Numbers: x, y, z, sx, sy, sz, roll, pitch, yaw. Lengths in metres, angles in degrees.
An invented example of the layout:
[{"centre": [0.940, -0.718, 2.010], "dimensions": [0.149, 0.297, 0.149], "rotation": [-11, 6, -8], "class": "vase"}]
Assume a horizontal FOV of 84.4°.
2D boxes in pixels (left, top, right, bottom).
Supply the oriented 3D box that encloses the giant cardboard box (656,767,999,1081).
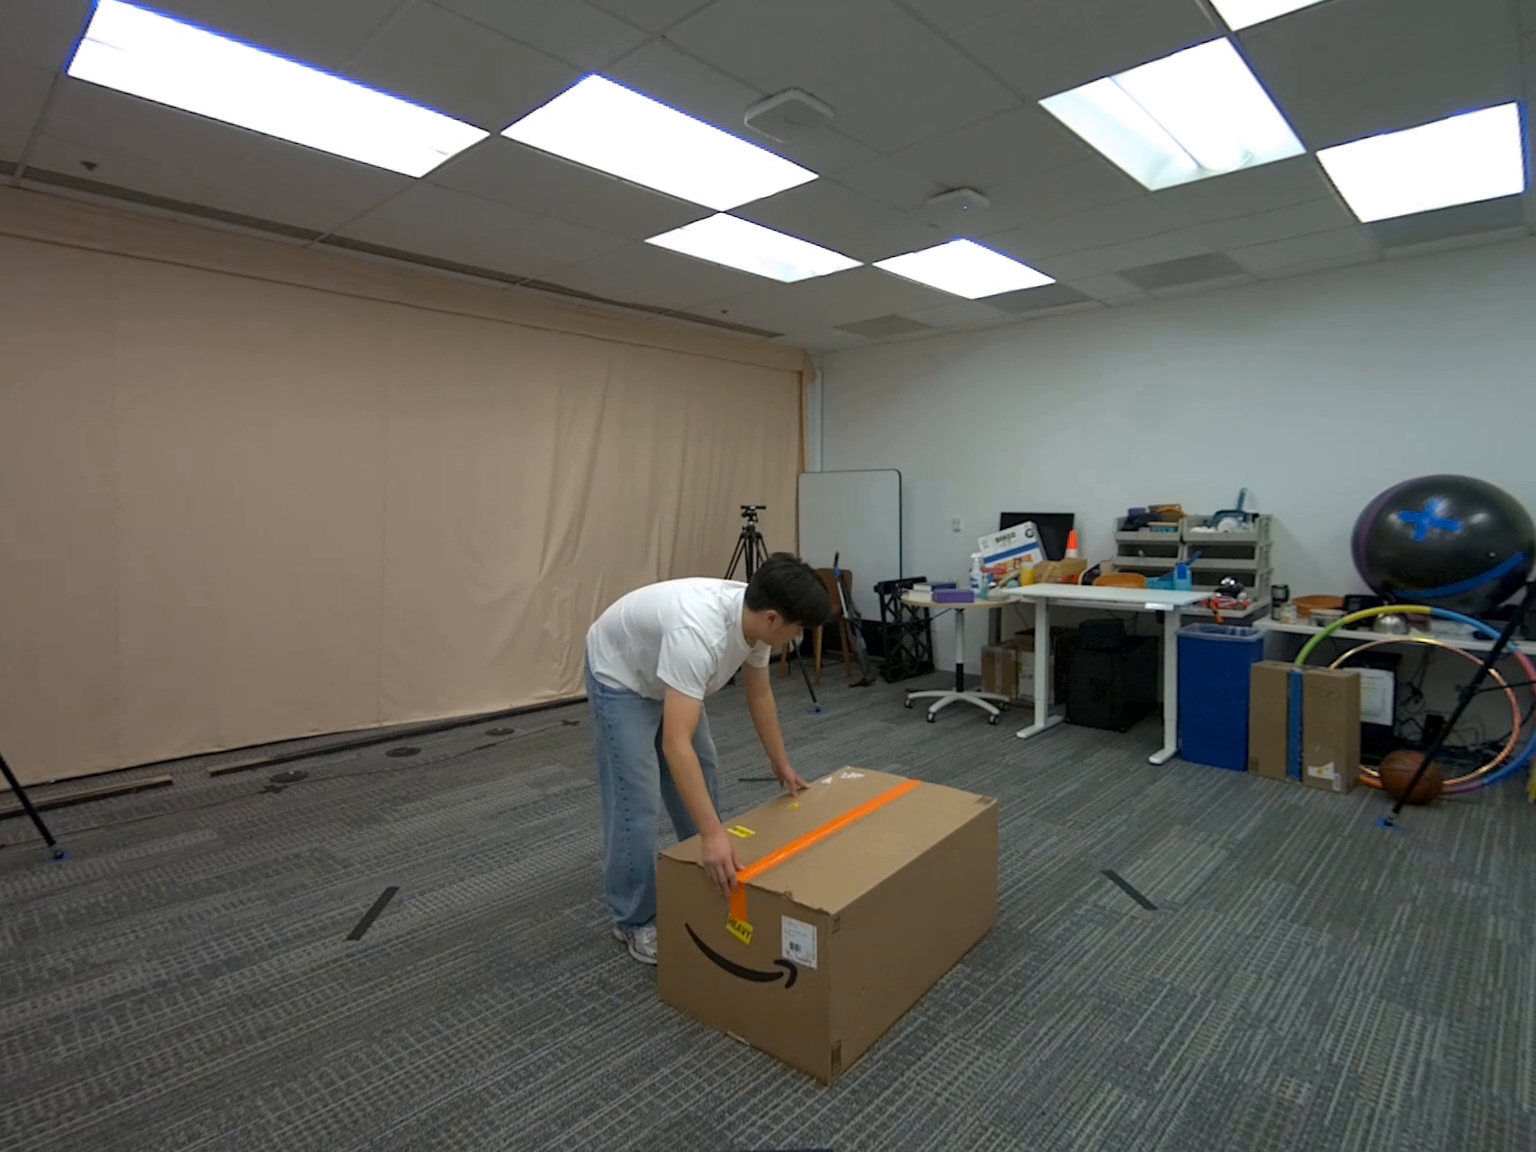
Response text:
[{"centre": [0.231, 0.964, 2.565], "dimensions": [0.596, 0.425, 0.996], "rotation": [2, 5, 38], "class": "giant cardboard box"}]
